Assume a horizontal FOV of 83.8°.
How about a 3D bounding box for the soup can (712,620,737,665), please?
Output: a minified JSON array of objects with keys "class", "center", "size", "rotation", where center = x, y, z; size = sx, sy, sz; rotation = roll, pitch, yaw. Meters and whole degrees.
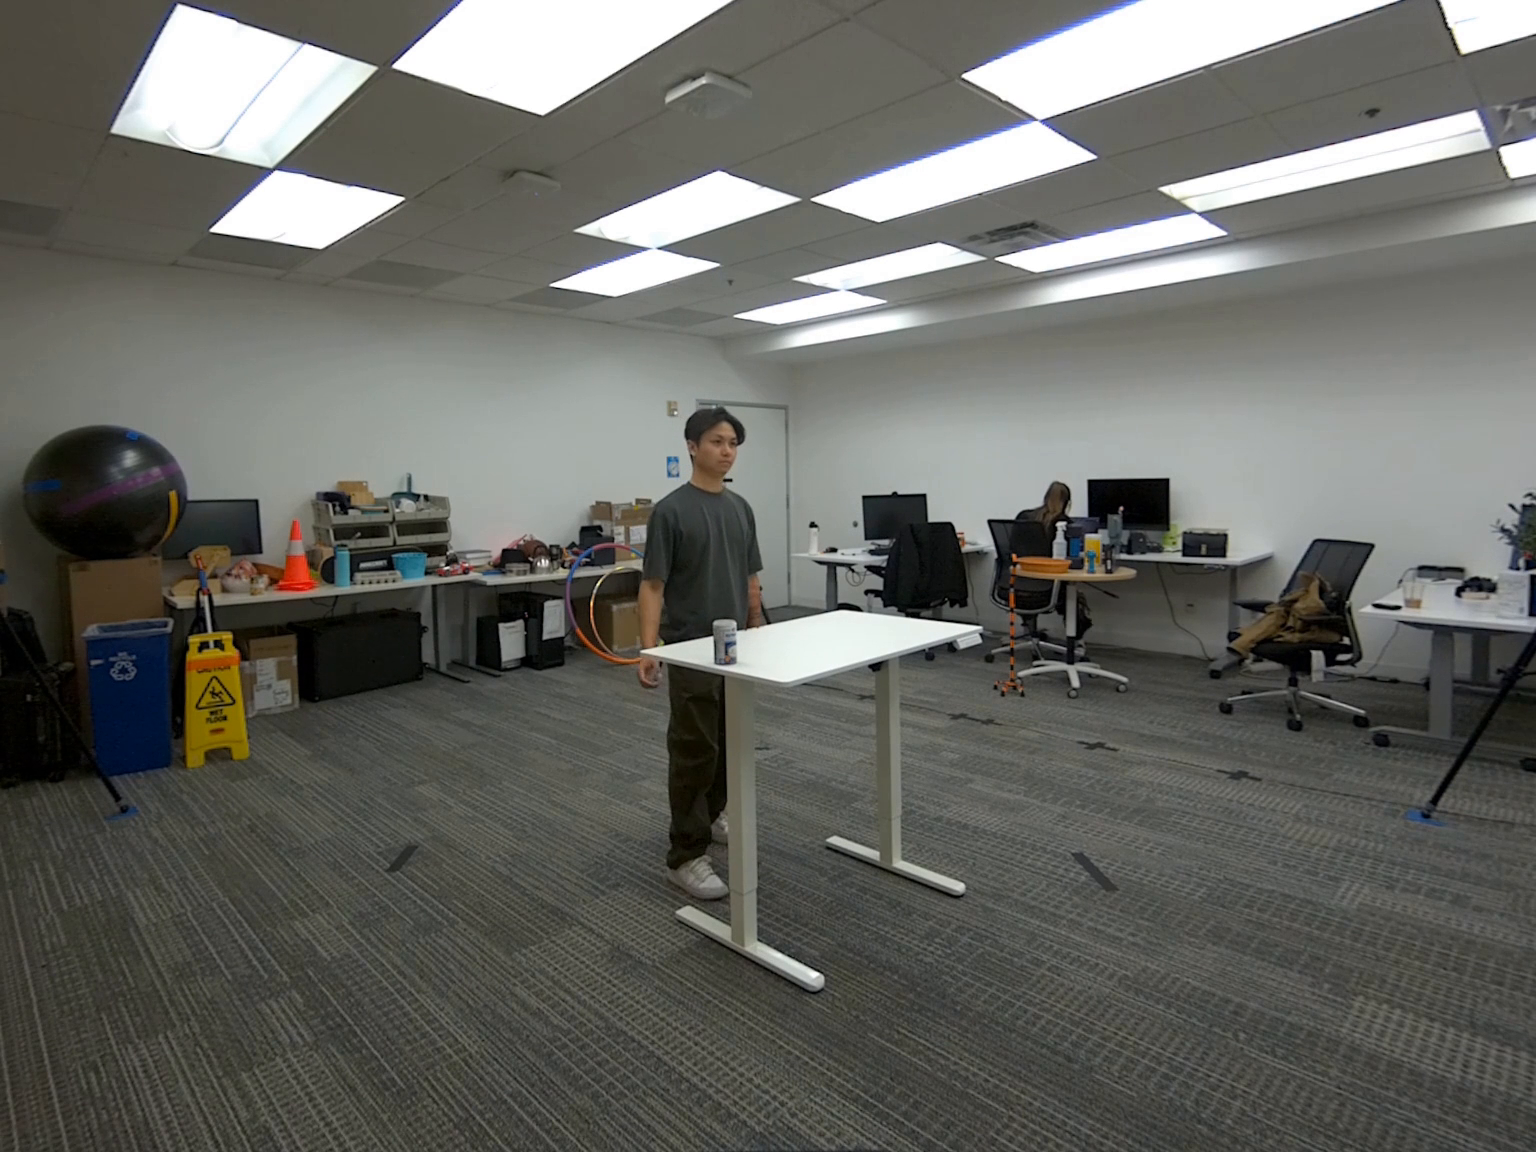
[{"class":"soup can","center":[-0.120,0.193,2.410],"size":[0.067,0.121,0.067],"rotation":[3,6,-2]}]
